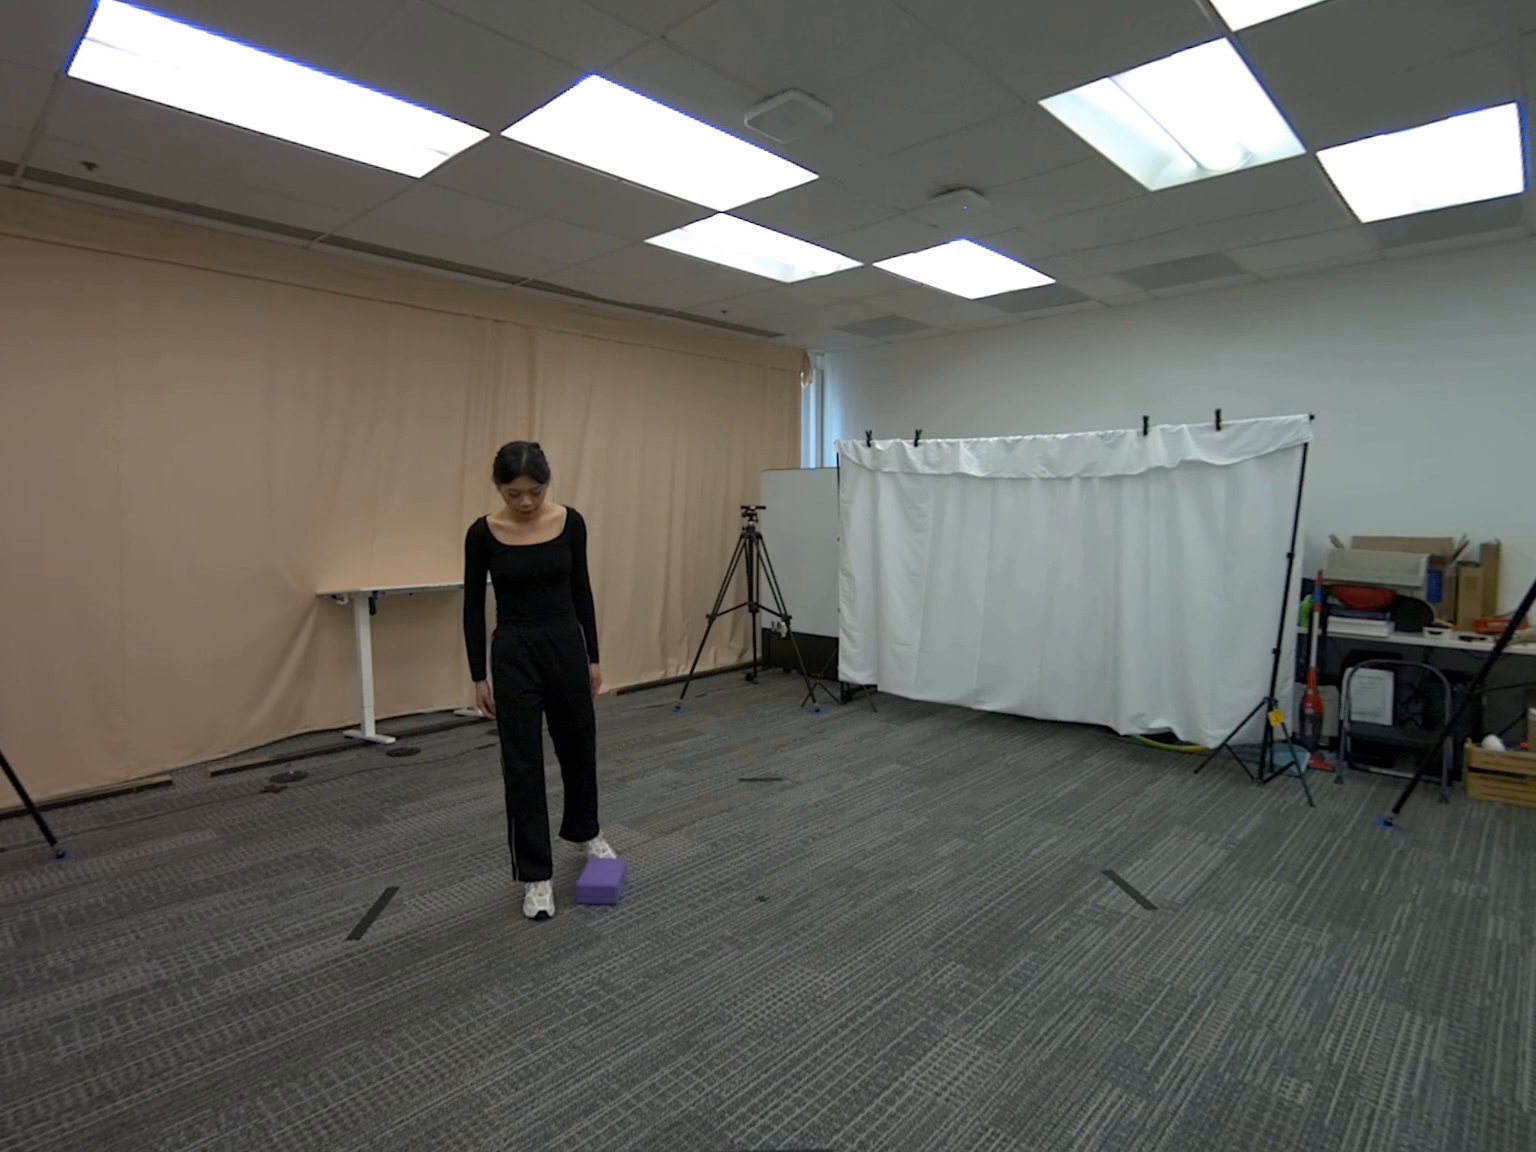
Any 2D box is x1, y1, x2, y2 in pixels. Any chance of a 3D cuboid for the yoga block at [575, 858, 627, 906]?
[{"bbox_3d":[-0.601,1.104,3.048,0.149,0.076,0.229,1,4,2],"label":"yoga block"}]
